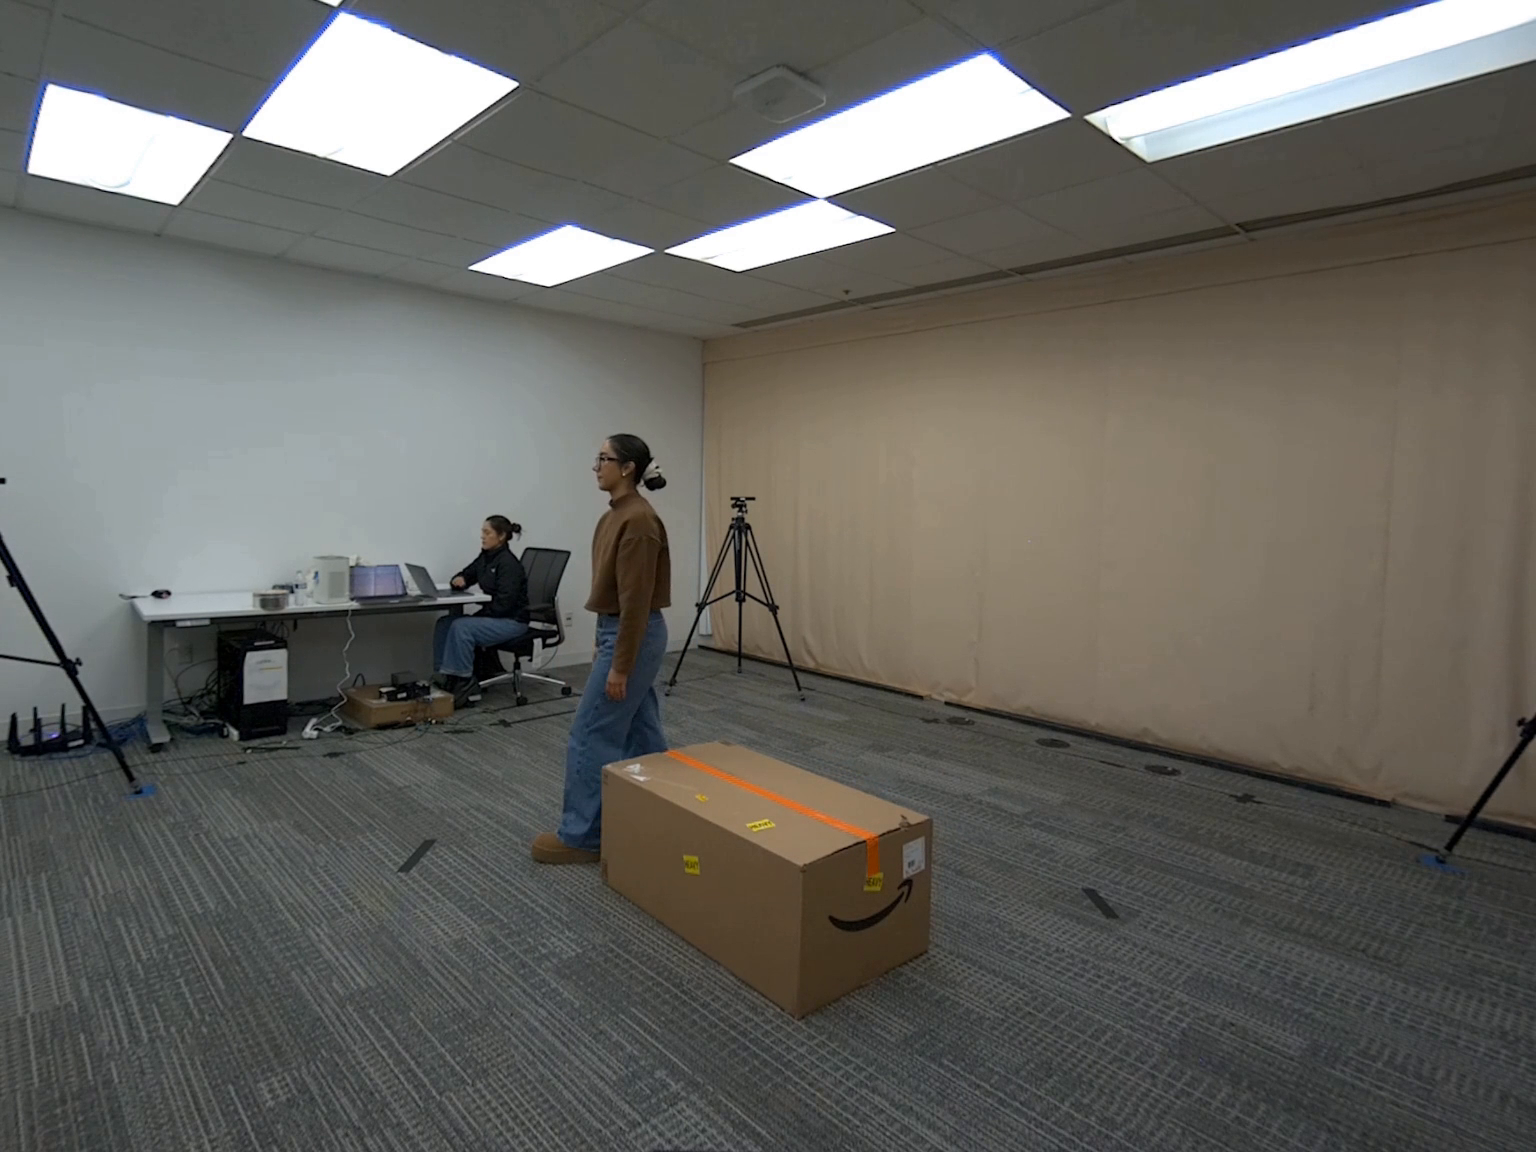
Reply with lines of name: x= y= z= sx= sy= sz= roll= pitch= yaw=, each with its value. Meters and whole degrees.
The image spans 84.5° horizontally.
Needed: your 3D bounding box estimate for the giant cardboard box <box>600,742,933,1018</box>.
giant cardboard box: x=-0.048 y=0.927 z=2.806 sx=0.570 sy=0.446 sz=1.053 roll=-1 pitch=5 yaw=-41
